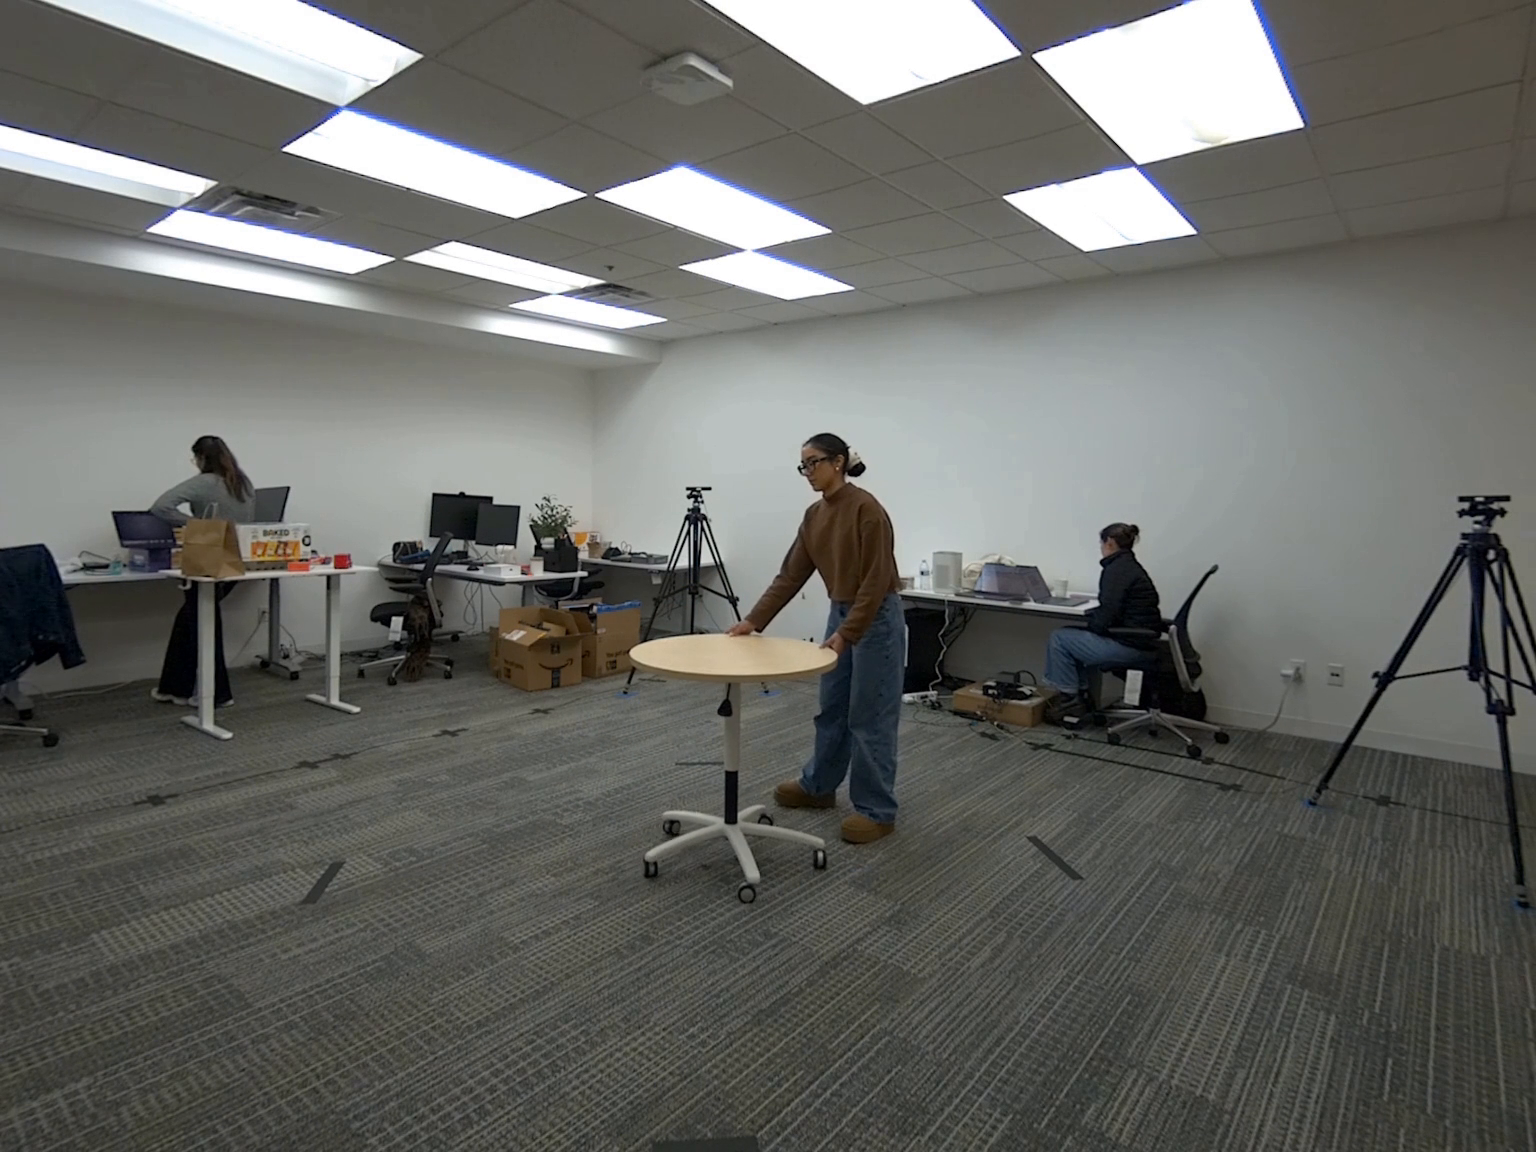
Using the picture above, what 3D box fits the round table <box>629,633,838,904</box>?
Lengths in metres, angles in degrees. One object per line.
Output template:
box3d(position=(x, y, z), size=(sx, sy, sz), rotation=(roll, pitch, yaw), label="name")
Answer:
box3d(position=(-0.145, 0.669, 3.157), size=(0.784, 0.784, 0.789), rotation=(0, 4, -2), label="round table")
